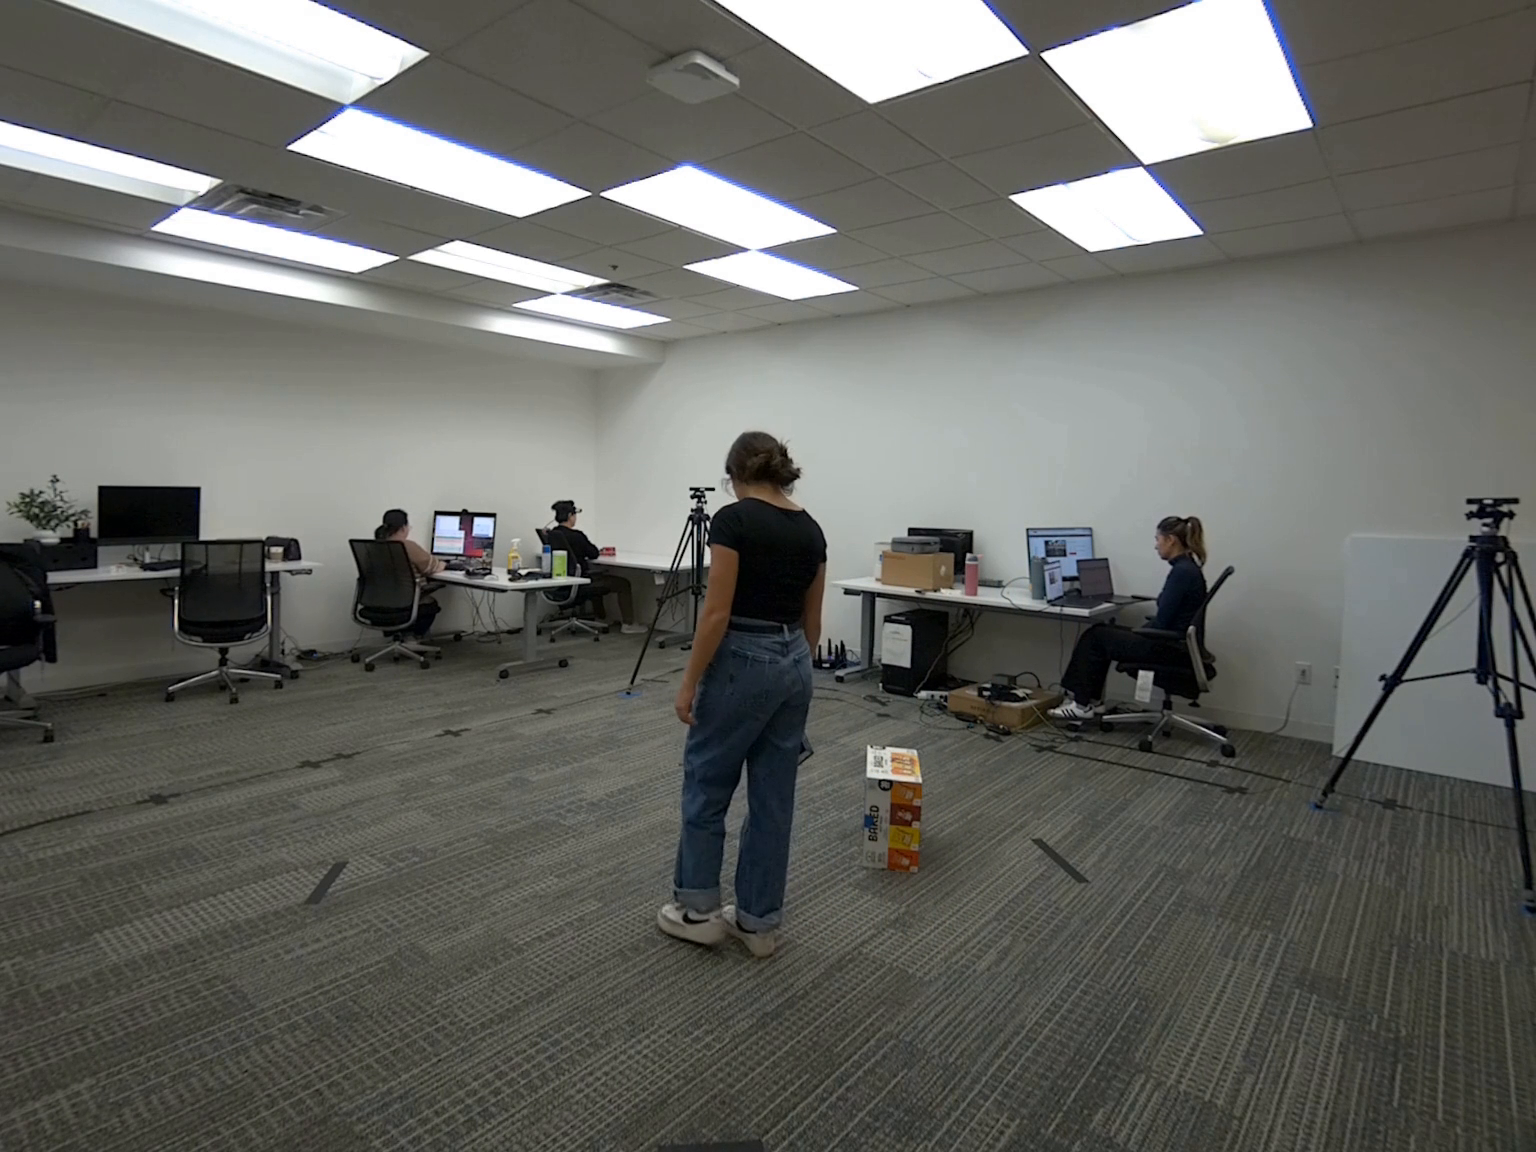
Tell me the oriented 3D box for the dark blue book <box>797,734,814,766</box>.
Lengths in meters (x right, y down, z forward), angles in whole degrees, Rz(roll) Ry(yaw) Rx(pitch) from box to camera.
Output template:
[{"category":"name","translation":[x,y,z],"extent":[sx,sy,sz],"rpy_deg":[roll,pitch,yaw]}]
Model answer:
[{"category":"dark blue book","translation":[0.038,0.513,2.772],"extent":[0.043,0.164,0.255],"rpy_deg":[29,25,-44]}]
